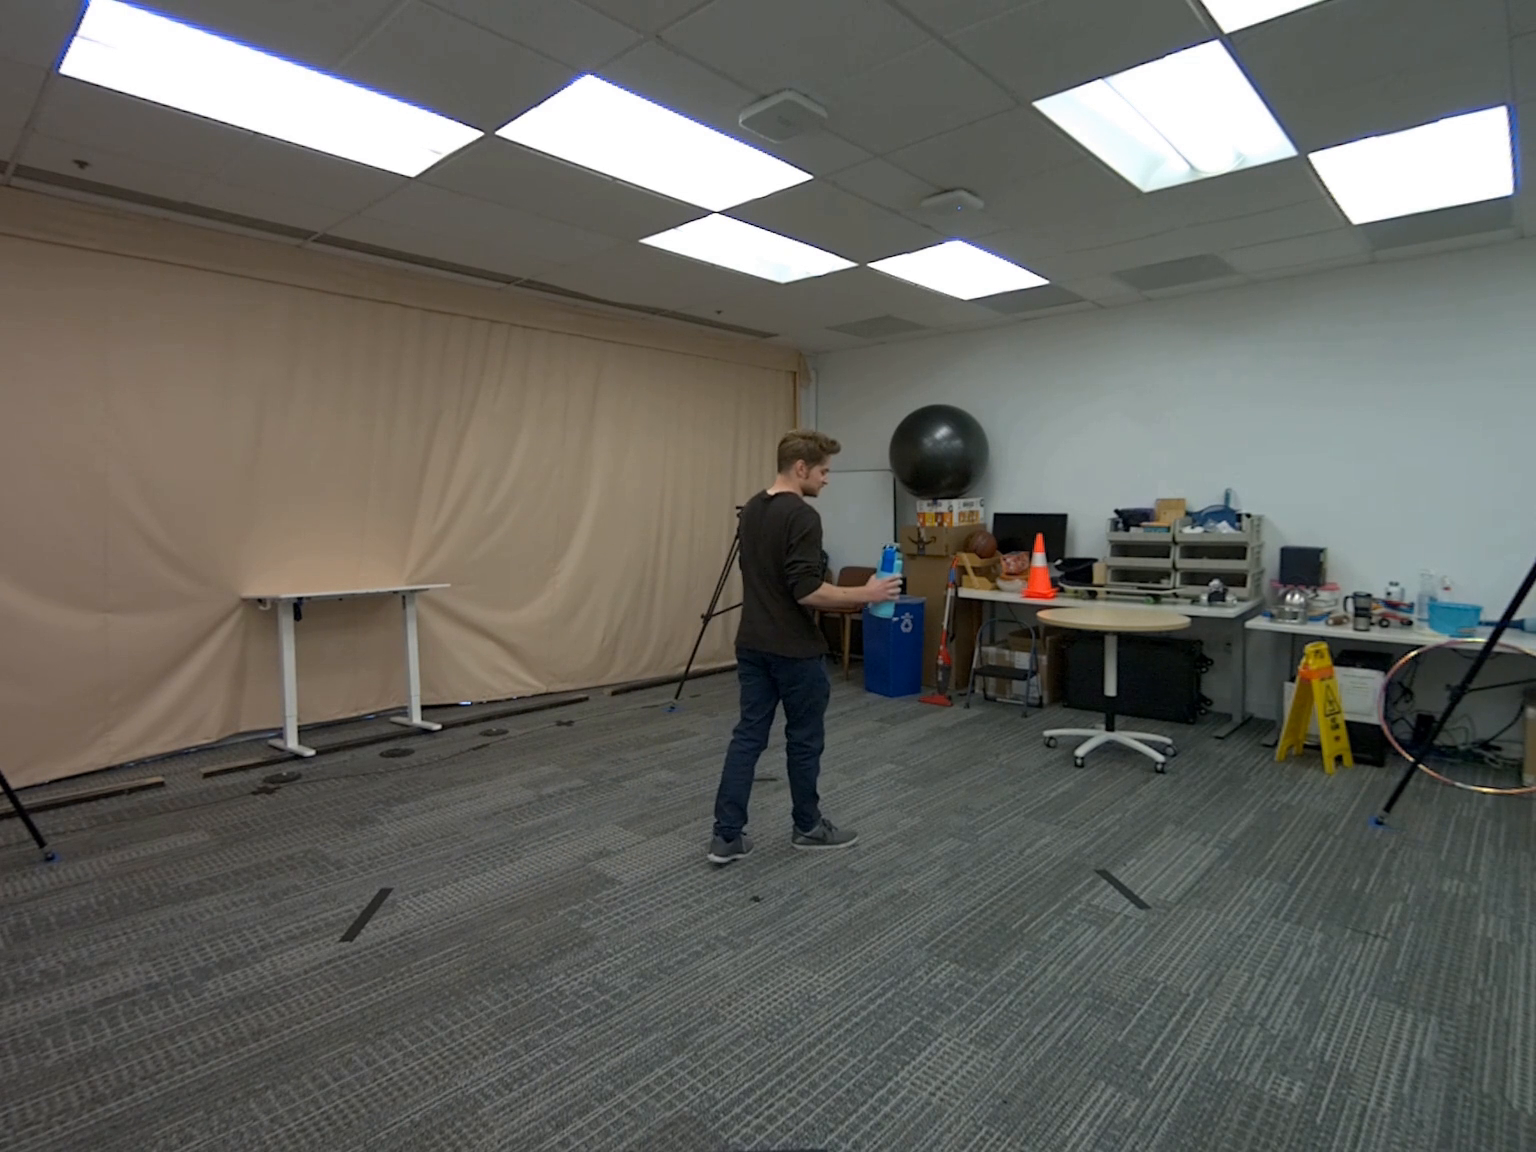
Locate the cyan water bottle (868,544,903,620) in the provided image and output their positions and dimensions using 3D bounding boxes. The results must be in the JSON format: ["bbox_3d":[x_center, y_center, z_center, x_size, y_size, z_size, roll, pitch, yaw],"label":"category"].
[{"bbox_3d":[0.464,0.014,3.235,0.092,0.282,0.093,9,12,-4],"label":"cyan water bottle"}]
